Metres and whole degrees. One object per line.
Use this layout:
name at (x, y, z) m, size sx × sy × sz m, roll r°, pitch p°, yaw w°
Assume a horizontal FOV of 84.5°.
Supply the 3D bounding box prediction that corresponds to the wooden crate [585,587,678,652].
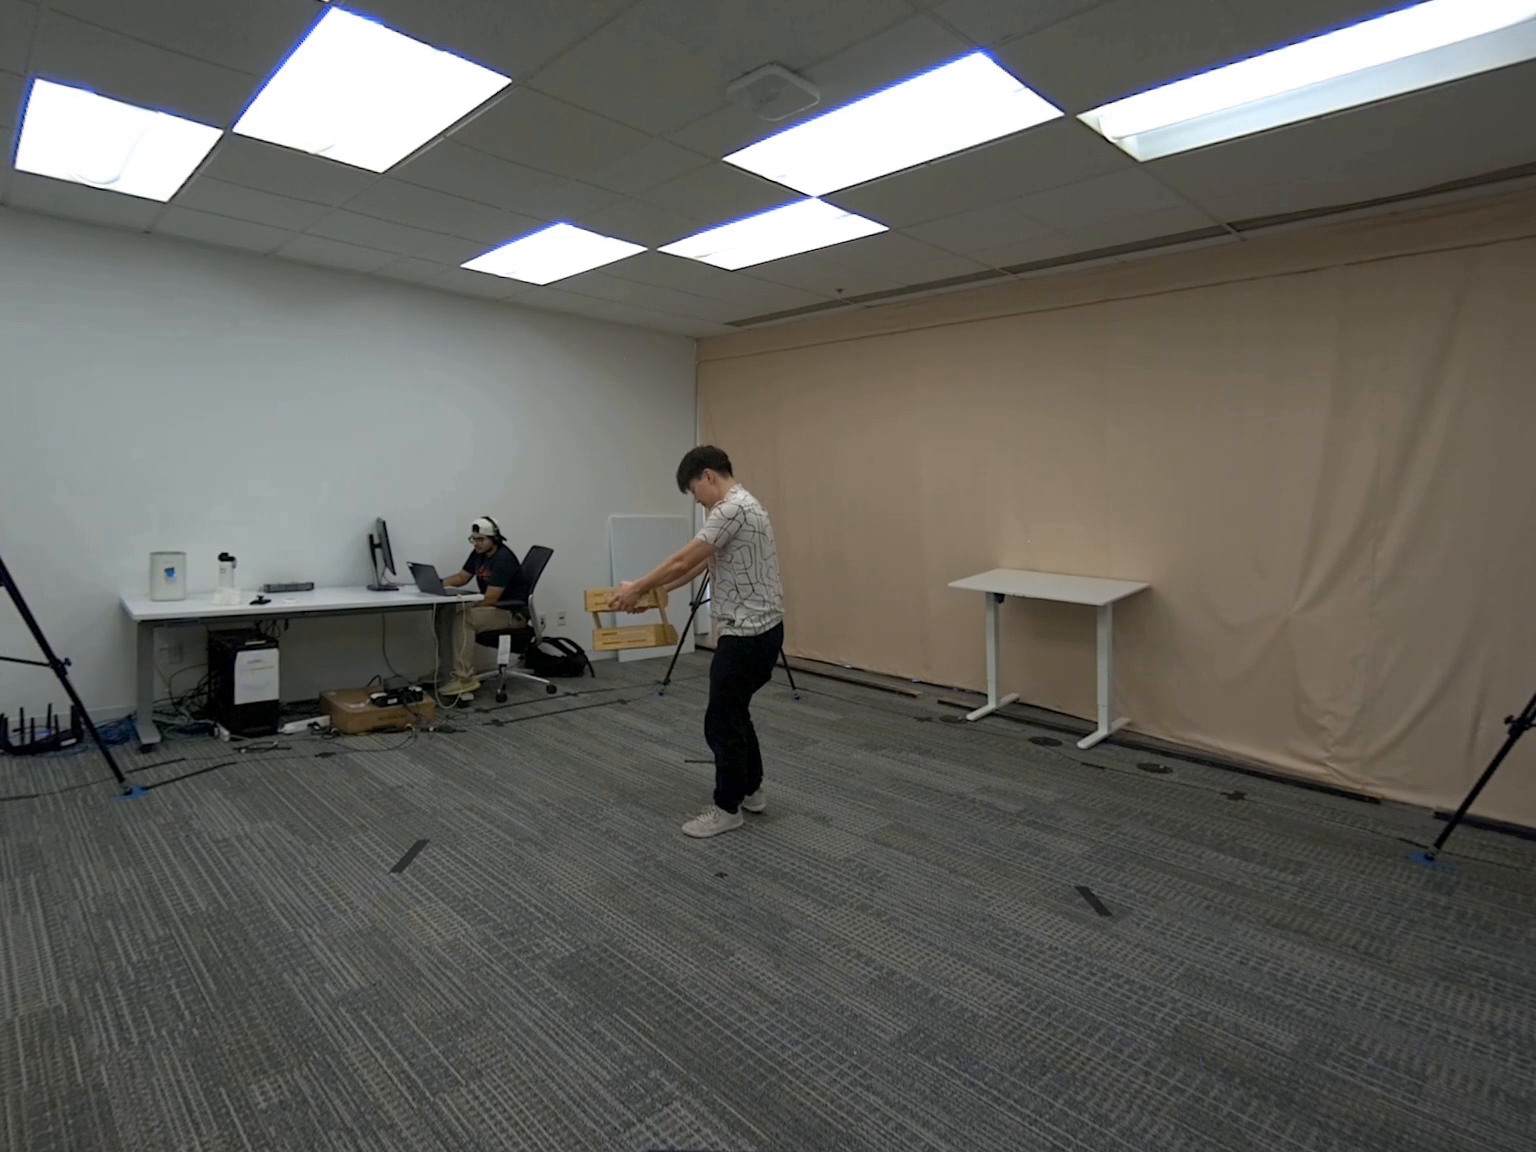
wooden crate at (-0.596, 0.183, 3.681) m, size 0.328 × 0.275 × 0.297 m, roll -5°, pitch -6°, yaw 15°
